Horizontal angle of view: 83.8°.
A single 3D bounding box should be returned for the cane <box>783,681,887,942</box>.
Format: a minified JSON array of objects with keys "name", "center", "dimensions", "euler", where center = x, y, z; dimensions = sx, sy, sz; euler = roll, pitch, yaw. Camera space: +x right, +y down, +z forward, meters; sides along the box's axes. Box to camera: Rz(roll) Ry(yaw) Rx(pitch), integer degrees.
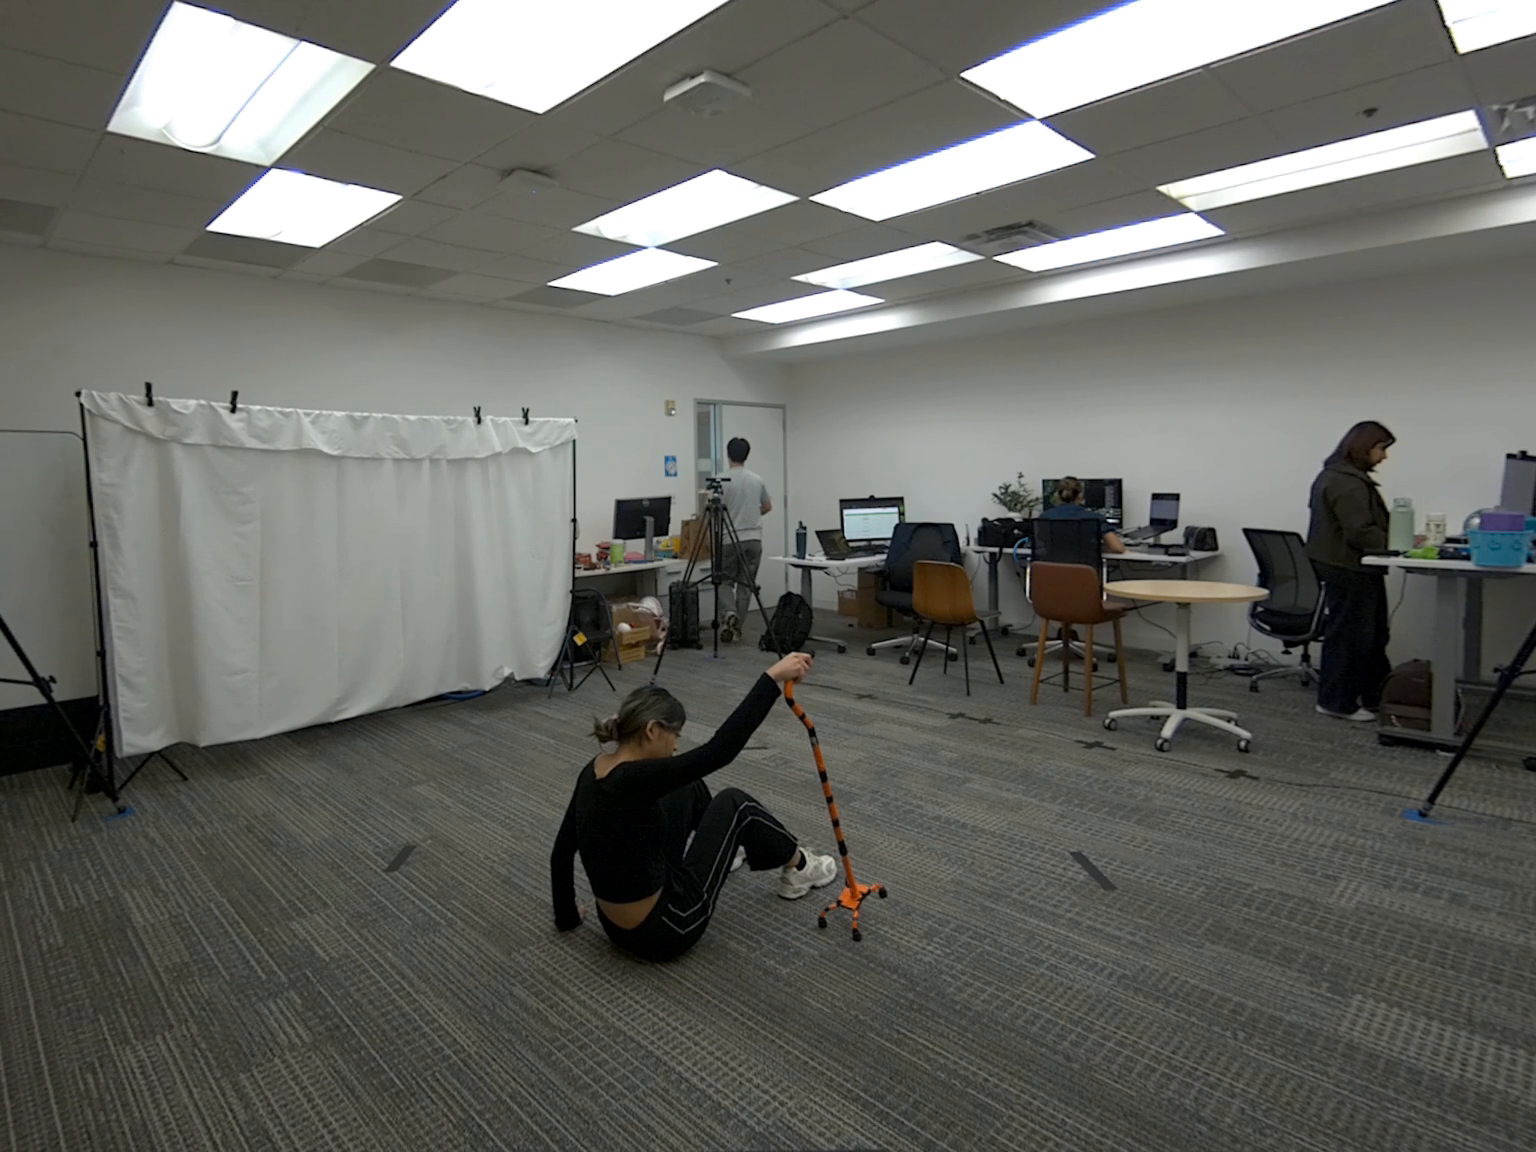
[{"name":"cane","center":[0.165,0.639,2.529],"dimensions":[0.156,0.889,0.205],"euler":[0,24,34]}]
